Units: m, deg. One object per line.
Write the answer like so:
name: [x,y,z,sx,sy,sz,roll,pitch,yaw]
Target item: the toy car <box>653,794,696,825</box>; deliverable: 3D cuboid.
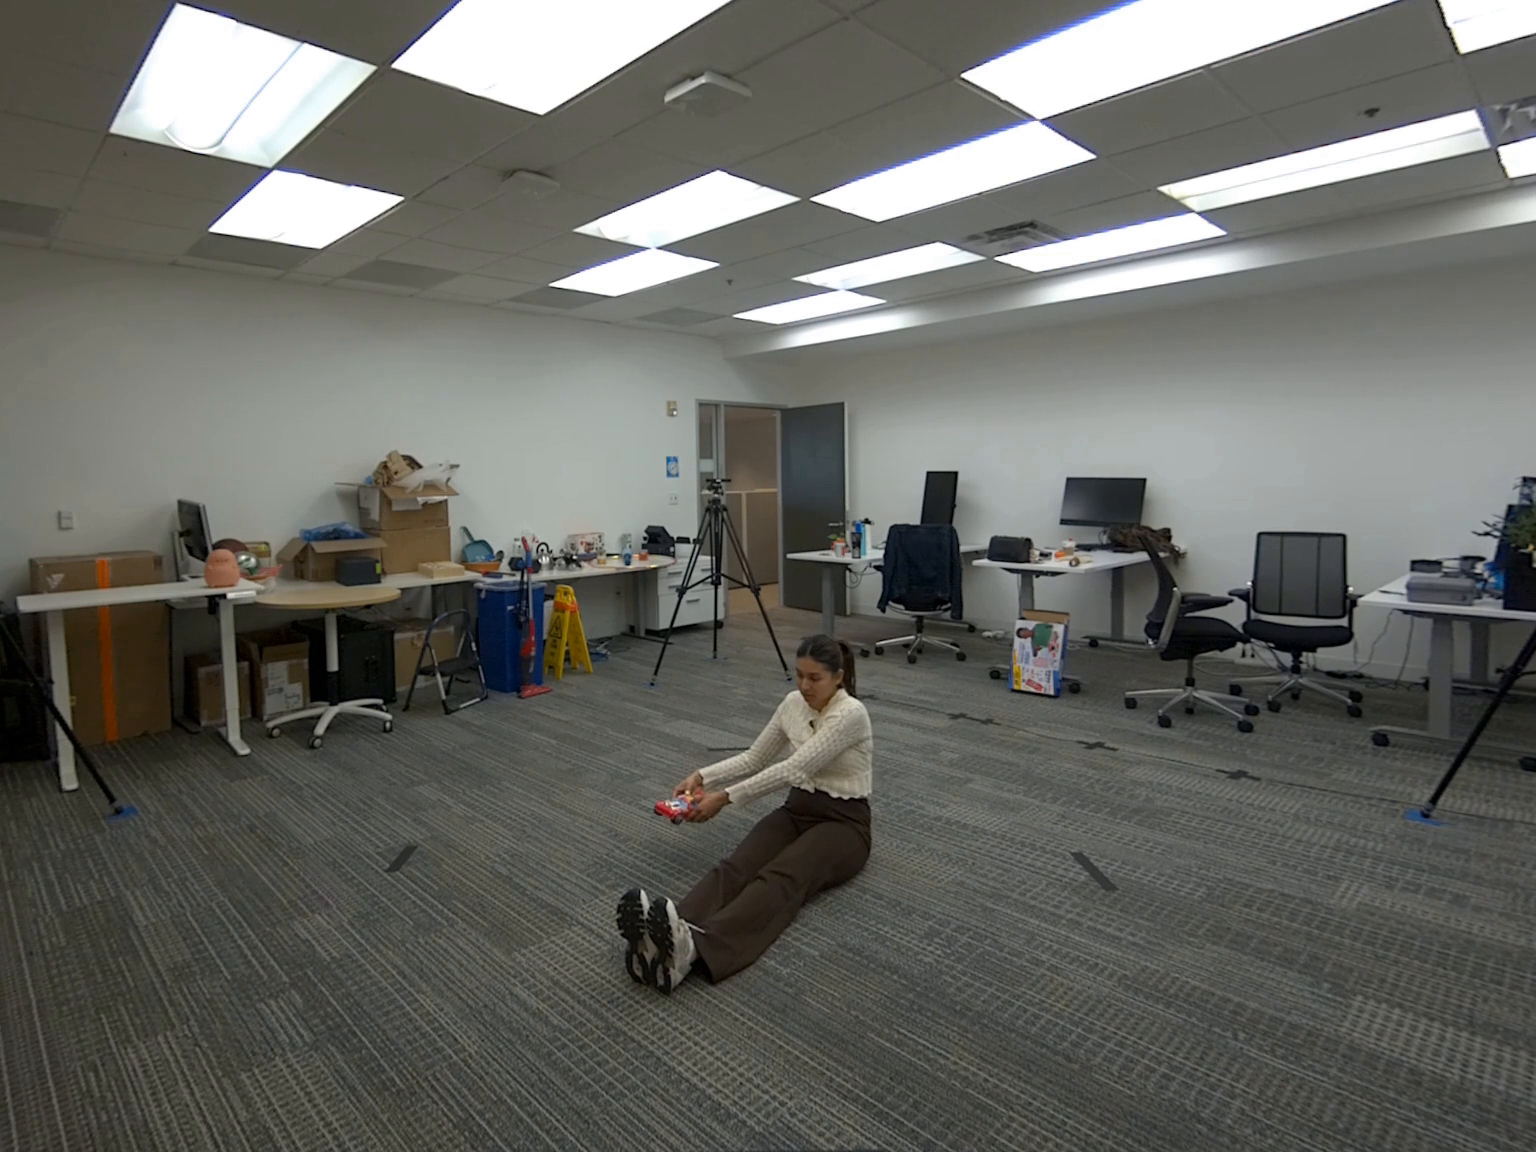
toy car: [-0.280,0.841,3.068,0.134,0.083,0.247,10,9,42]
